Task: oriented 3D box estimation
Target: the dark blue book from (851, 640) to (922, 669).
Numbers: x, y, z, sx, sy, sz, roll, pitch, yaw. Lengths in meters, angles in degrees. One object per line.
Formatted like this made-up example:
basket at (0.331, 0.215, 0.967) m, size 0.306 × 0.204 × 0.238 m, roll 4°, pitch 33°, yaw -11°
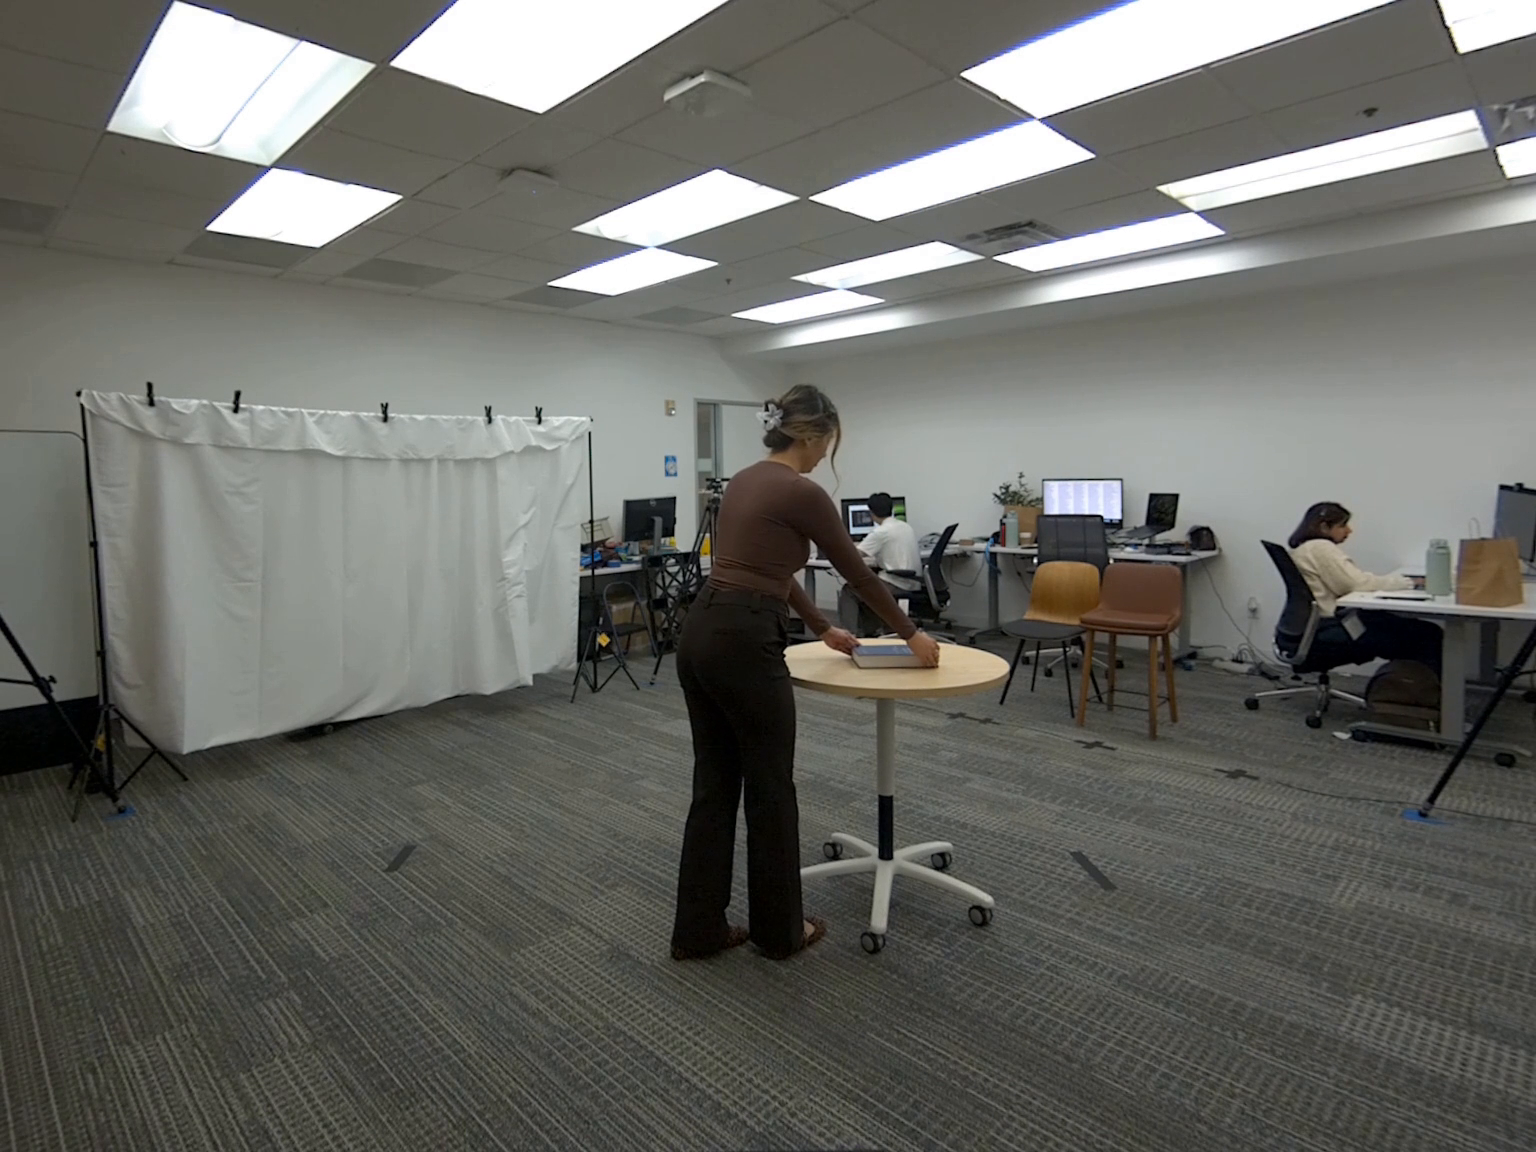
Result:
dark blue book at (0.409, 0.261, 2.737) m, size 0.245 × 0.045 × 0.164 m, roll -1°, pitch 7°, yaw 1°
